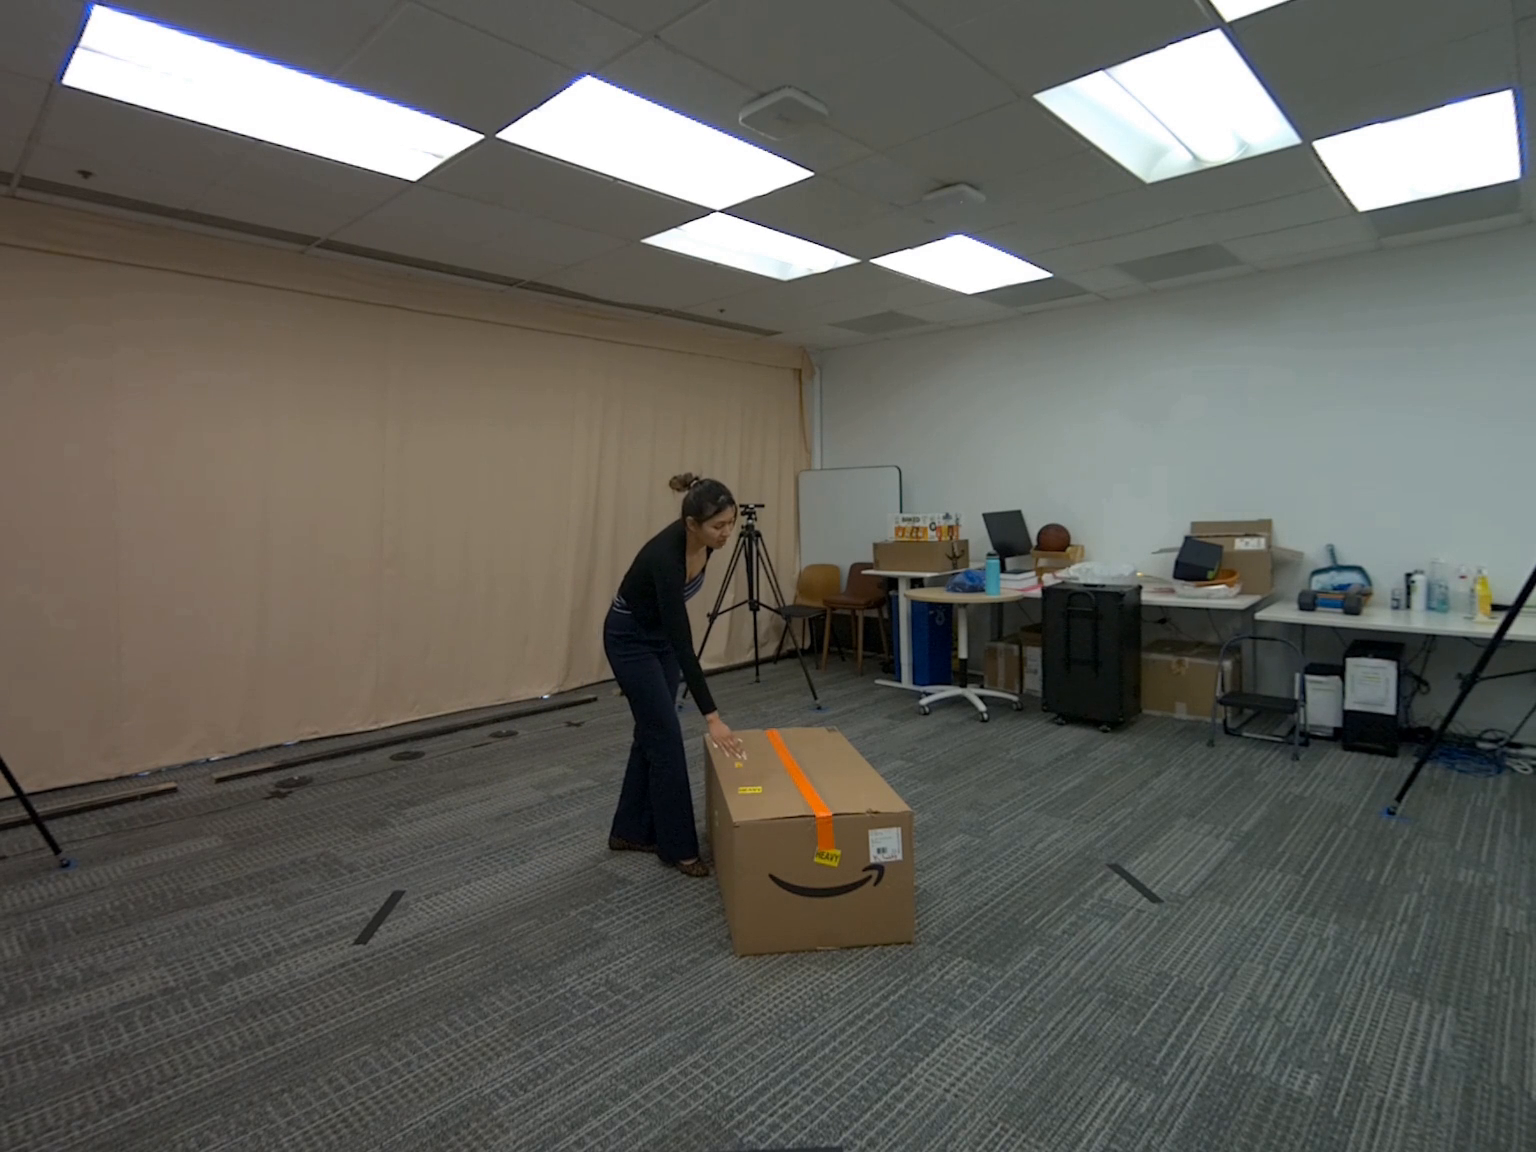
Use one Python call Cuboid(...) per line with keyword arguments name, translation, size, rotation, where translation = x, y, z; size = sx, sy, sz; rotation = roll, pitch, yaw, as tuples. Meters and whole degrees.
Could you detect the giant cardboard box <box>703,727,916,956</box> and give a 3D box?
Cuboid(name="giant cardboard box", translation=(0.102, 0.907, 3.114), size=(0.573, 0.425, 1.037), rotation=(-2, 5, -9))
